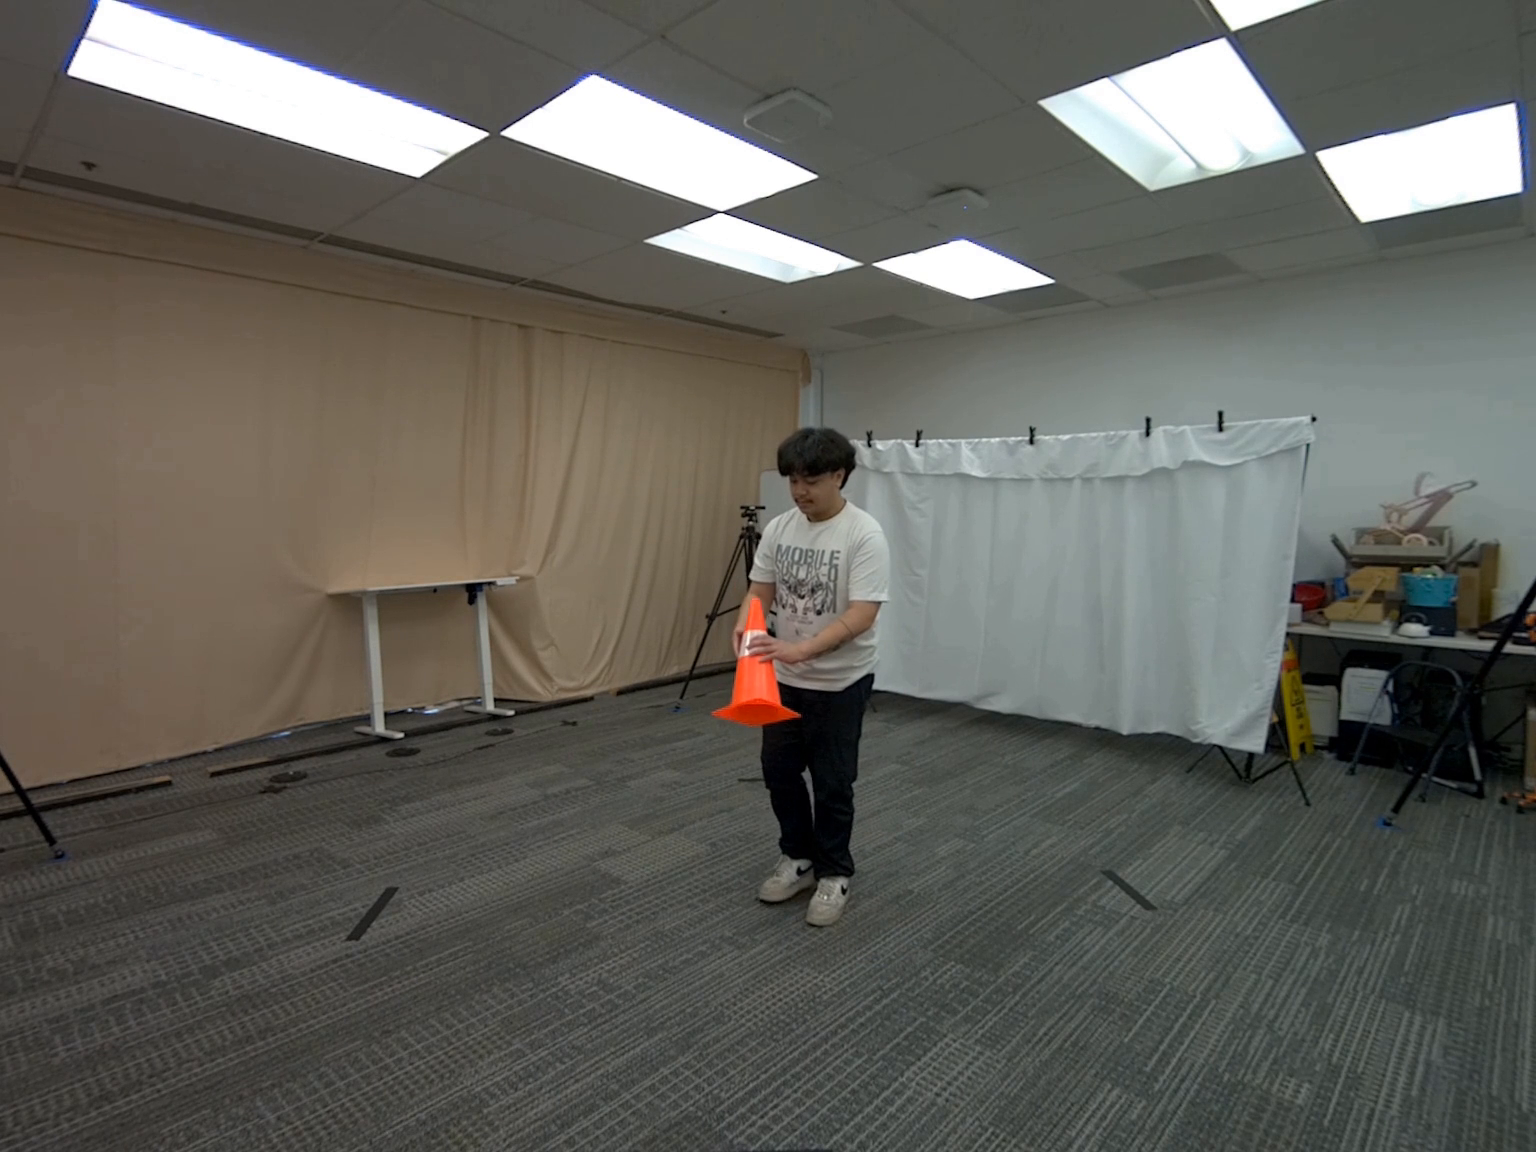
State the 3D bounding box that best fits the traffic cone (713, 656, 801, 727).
[{"bbox_3d":[-0.028,0.250,2.604,0.209,0.389,0.196,-22,-38,39],"label":"traffic cone"}]
